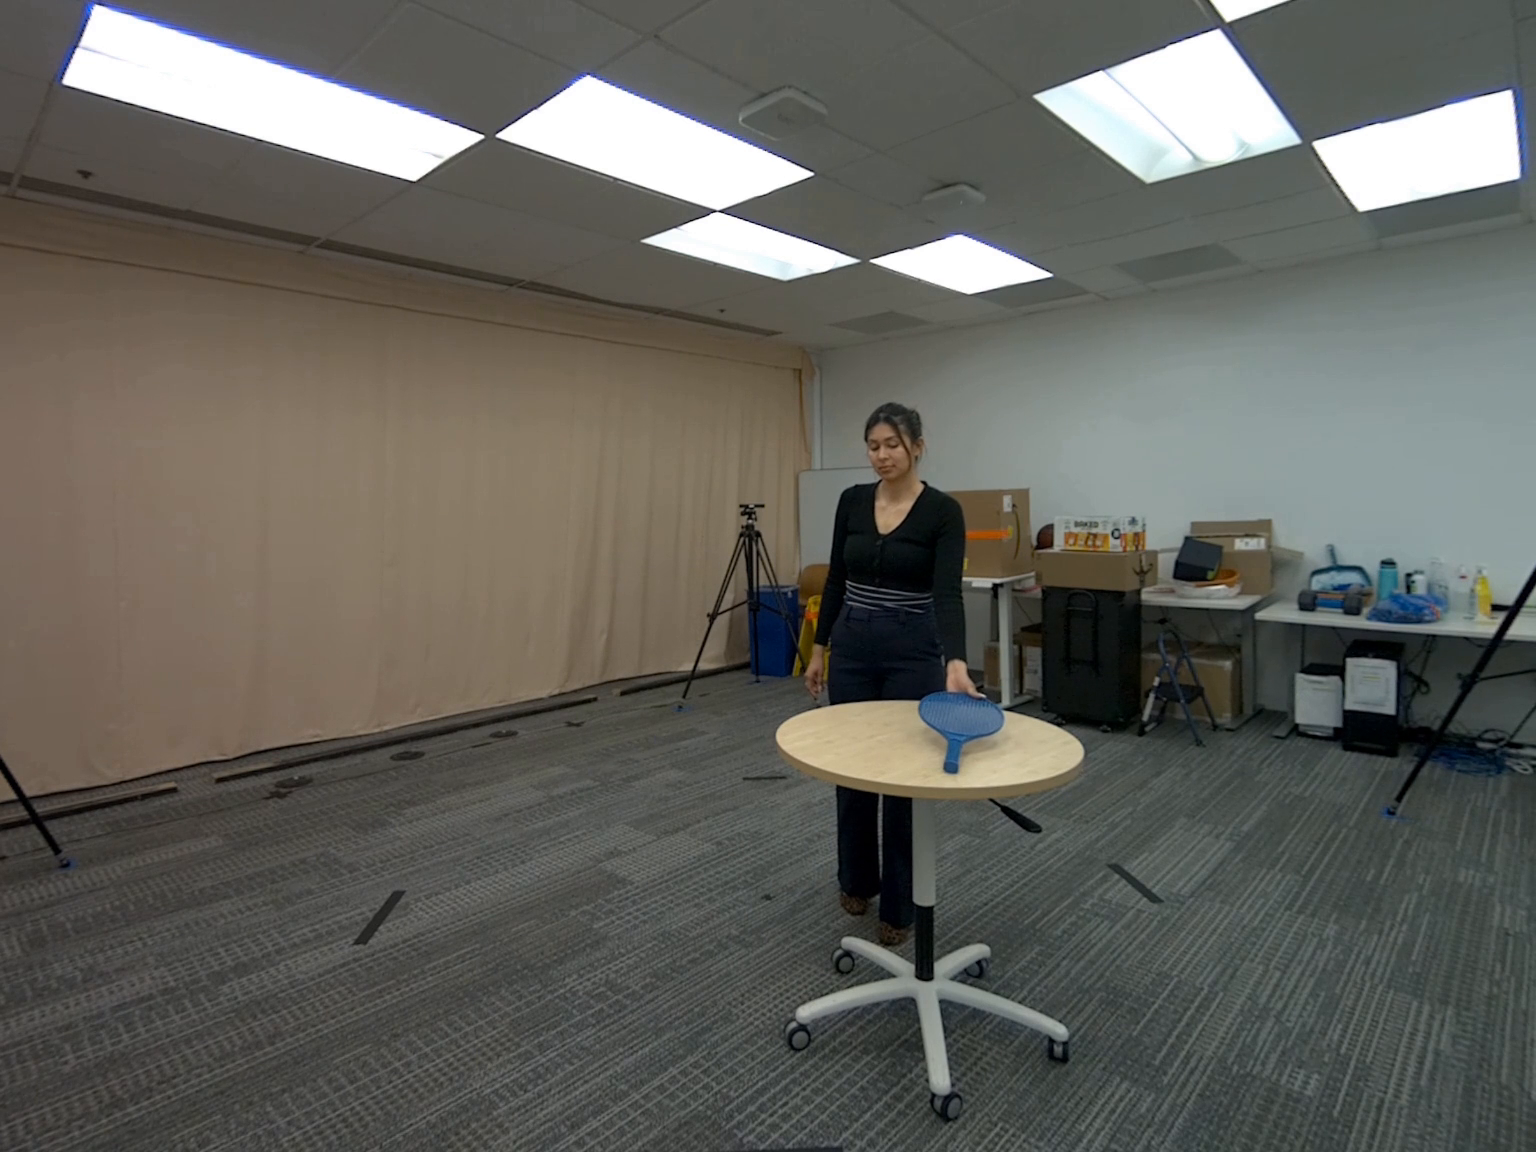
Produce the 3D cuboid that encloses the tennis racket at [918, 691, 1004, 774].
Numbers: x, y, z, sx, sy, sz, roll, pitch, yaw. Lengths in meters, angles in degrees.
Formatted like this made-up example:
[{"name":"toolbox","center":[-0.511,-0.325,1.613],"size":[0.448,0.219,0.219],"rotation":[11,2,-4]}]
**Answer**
[{"name":"tennis racket","center":[0.479,0.376,2.073],"size":[0.217,0.031,0.429],"rotation":[7,18,14]}]
